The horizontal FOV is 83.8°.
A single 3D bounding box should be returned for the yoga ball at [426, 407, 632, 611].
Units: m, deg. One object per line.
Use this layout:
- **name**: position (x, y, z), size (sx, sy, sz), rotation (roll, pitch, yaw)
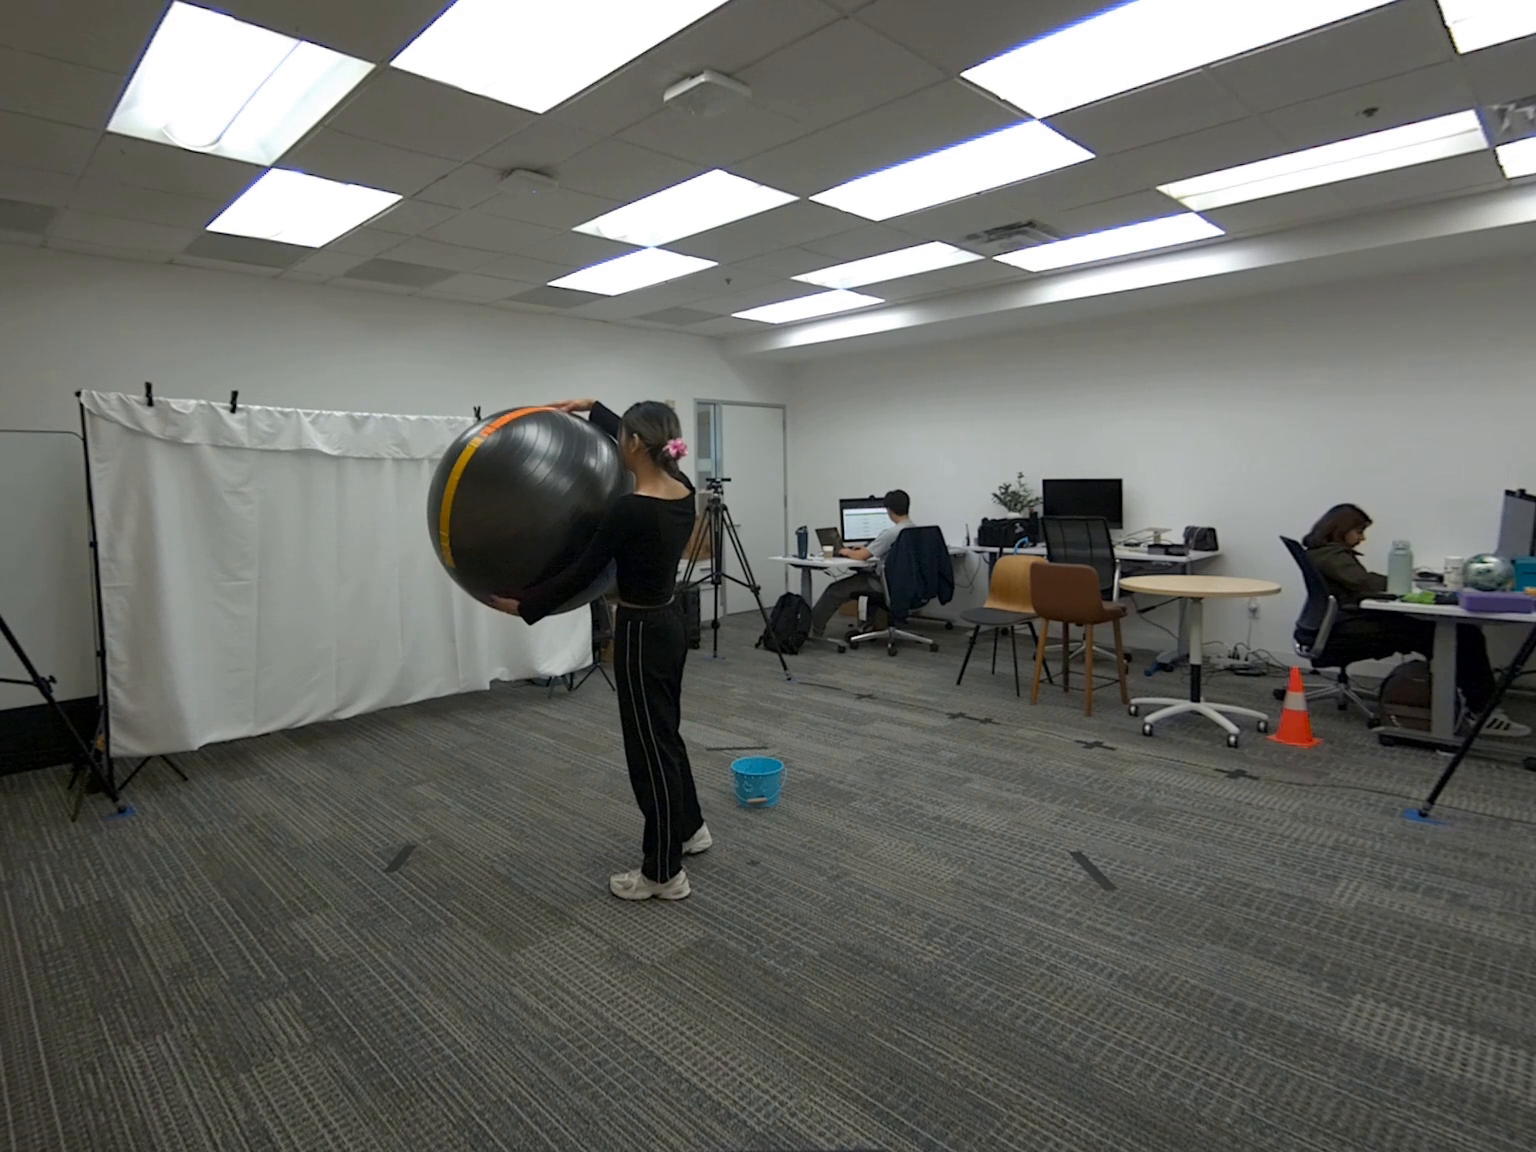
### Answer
- **yoga ball**: position (-0.839, -0.225, 3.086), size (0.757, 0.755, 0.762), rotation (-1, 5, -2)
